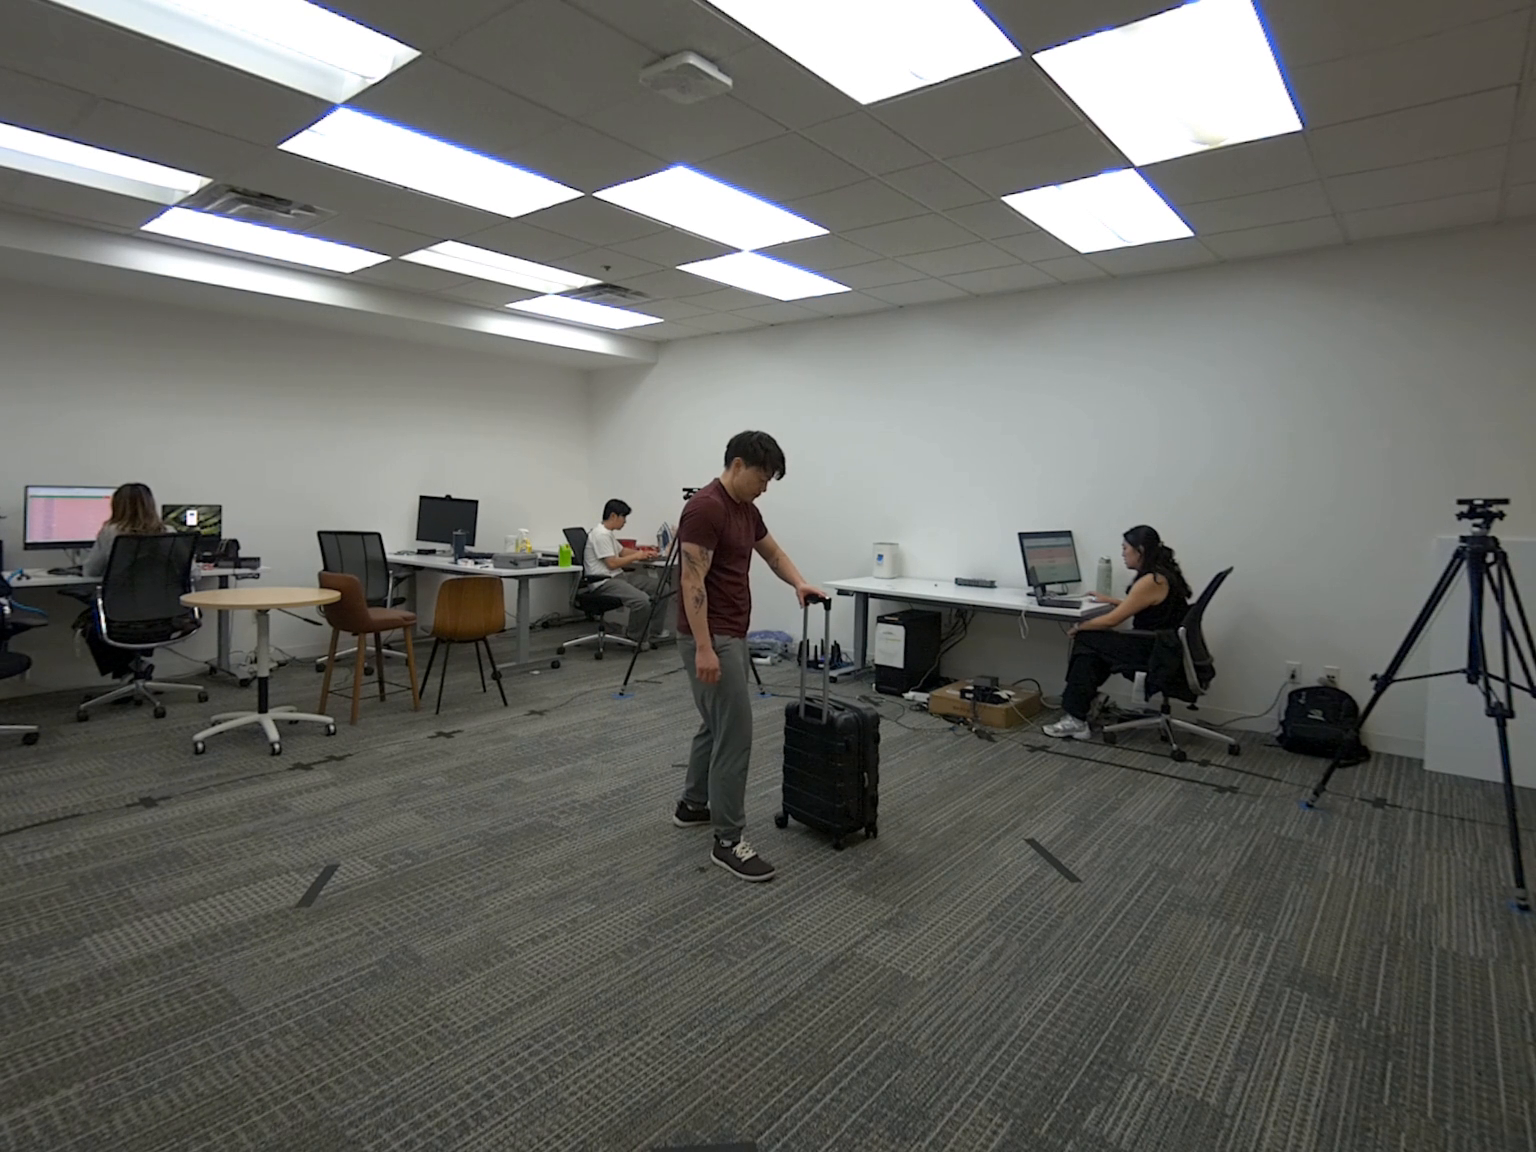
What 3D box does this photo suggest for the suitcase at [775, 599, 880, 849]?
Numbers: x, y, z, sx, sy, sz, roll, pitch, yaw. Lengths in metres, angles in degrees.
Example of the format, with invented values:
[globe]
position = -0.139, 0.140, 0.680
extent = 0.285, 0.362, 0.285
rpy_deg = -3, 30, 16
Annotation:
[suitcase]
position = 0.254, 0.569, 3.452
extent = 0.249, 0.975, 0.397
rpy_deg = 0, 5, -41
